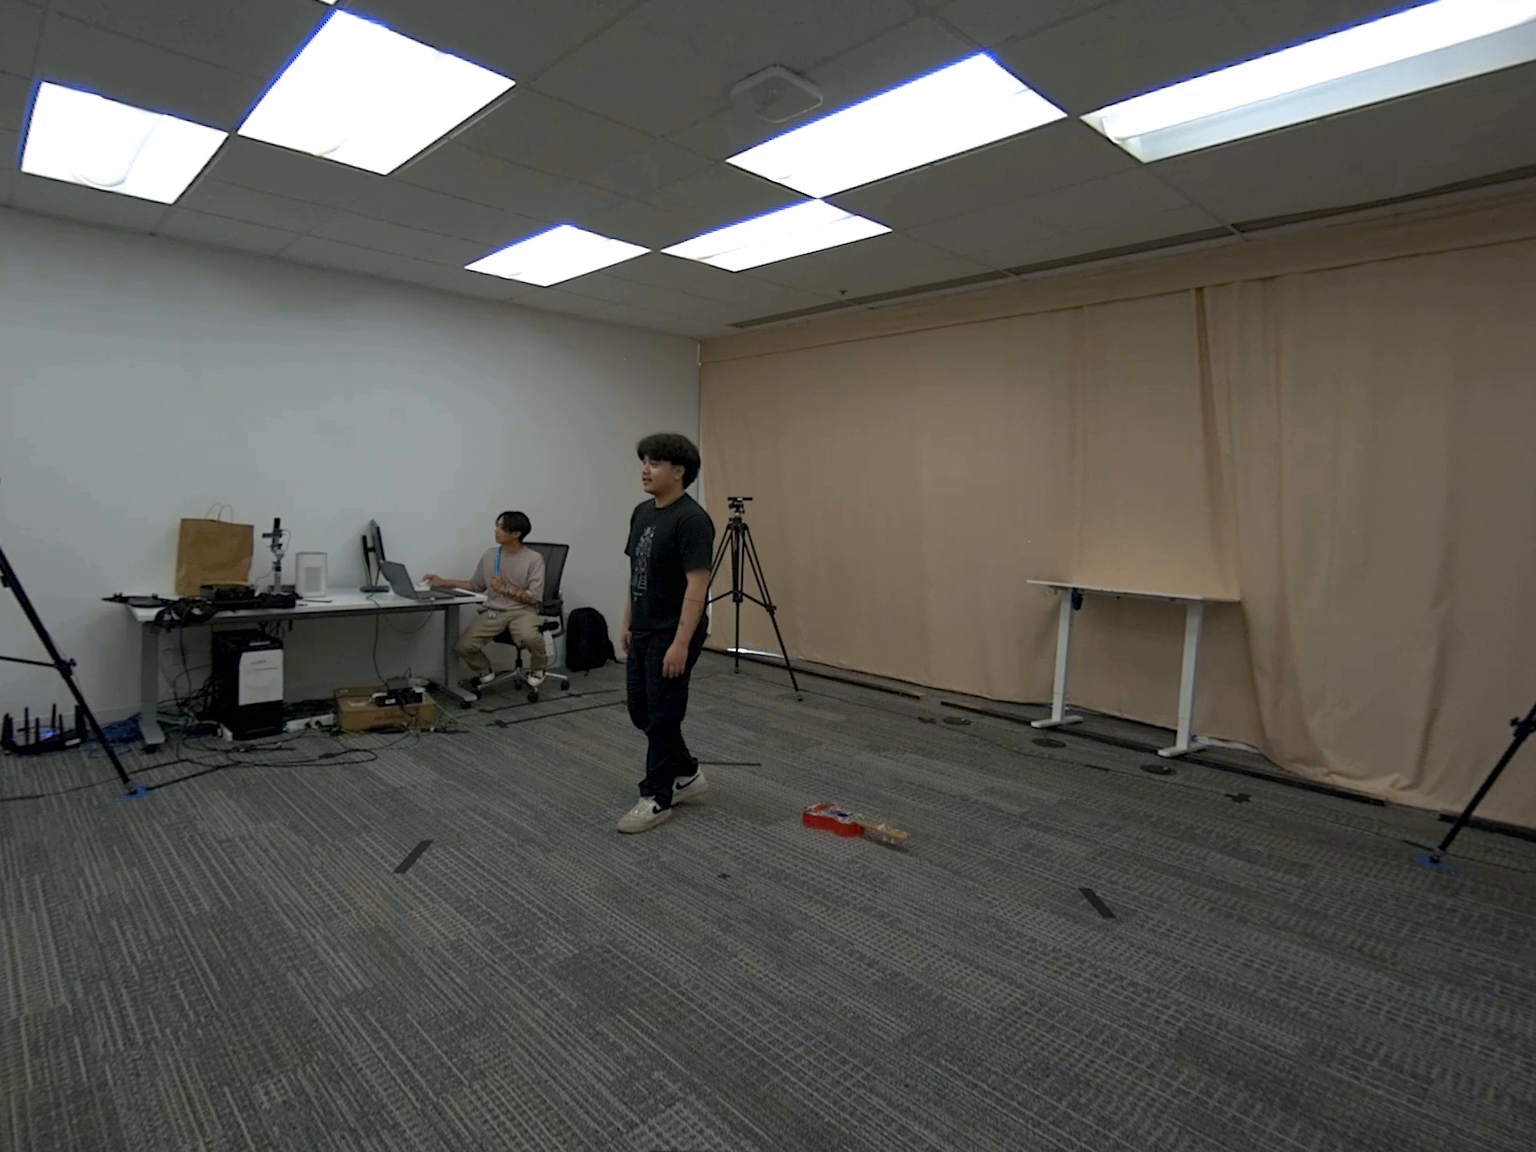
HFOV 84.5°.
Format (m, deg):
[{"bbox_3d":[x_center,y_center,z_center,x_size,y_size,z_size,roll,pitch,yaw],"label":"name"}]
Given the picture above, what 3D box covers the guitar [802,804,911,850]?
[{"bbox_3d":[0.337,1.048,3.524,0.188,0.070,0.510,-1,4,-38],"label":"guitar"}]
